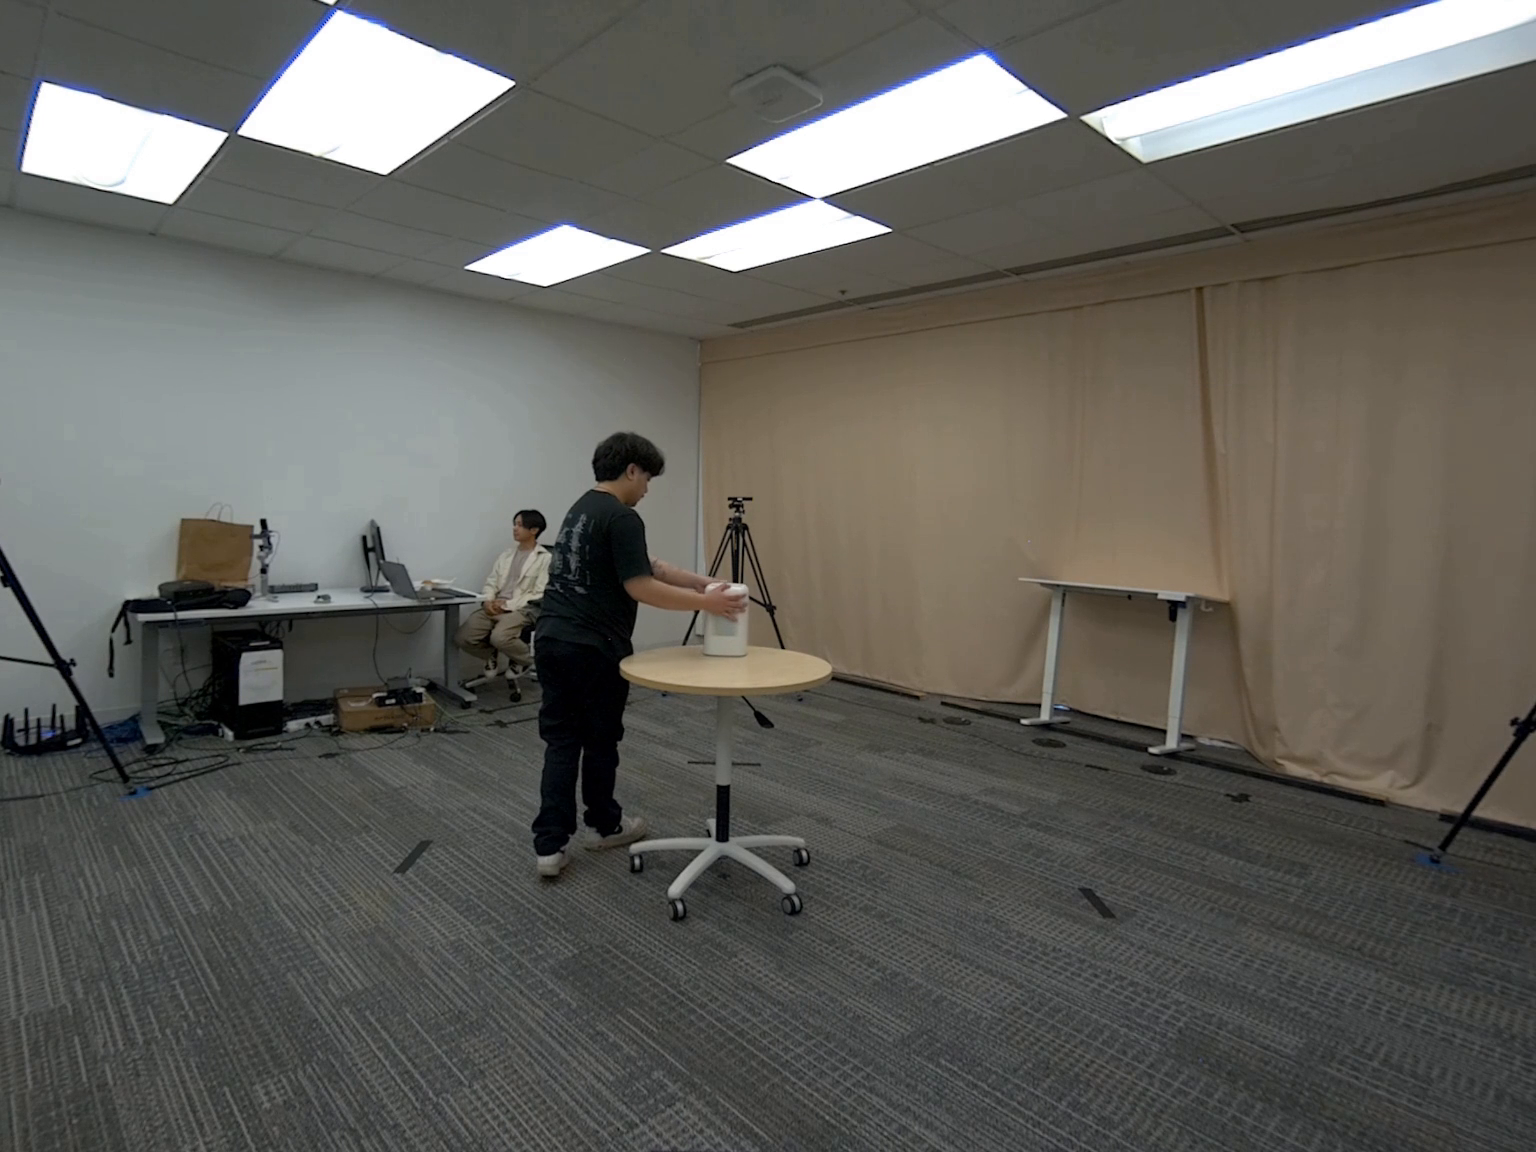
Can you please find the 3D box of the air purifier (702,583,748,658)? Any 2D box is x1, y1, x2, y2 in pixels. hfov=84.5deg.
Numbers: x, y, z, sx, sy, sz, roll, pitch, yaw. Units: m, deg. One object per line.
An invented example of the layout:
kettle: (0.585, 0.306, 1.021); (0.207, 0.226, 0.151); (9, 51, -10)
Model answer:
air purifier: (-0.172, 0.170, 3.256); (0.173, 0.265, 0.170); (4, 2, 7)
